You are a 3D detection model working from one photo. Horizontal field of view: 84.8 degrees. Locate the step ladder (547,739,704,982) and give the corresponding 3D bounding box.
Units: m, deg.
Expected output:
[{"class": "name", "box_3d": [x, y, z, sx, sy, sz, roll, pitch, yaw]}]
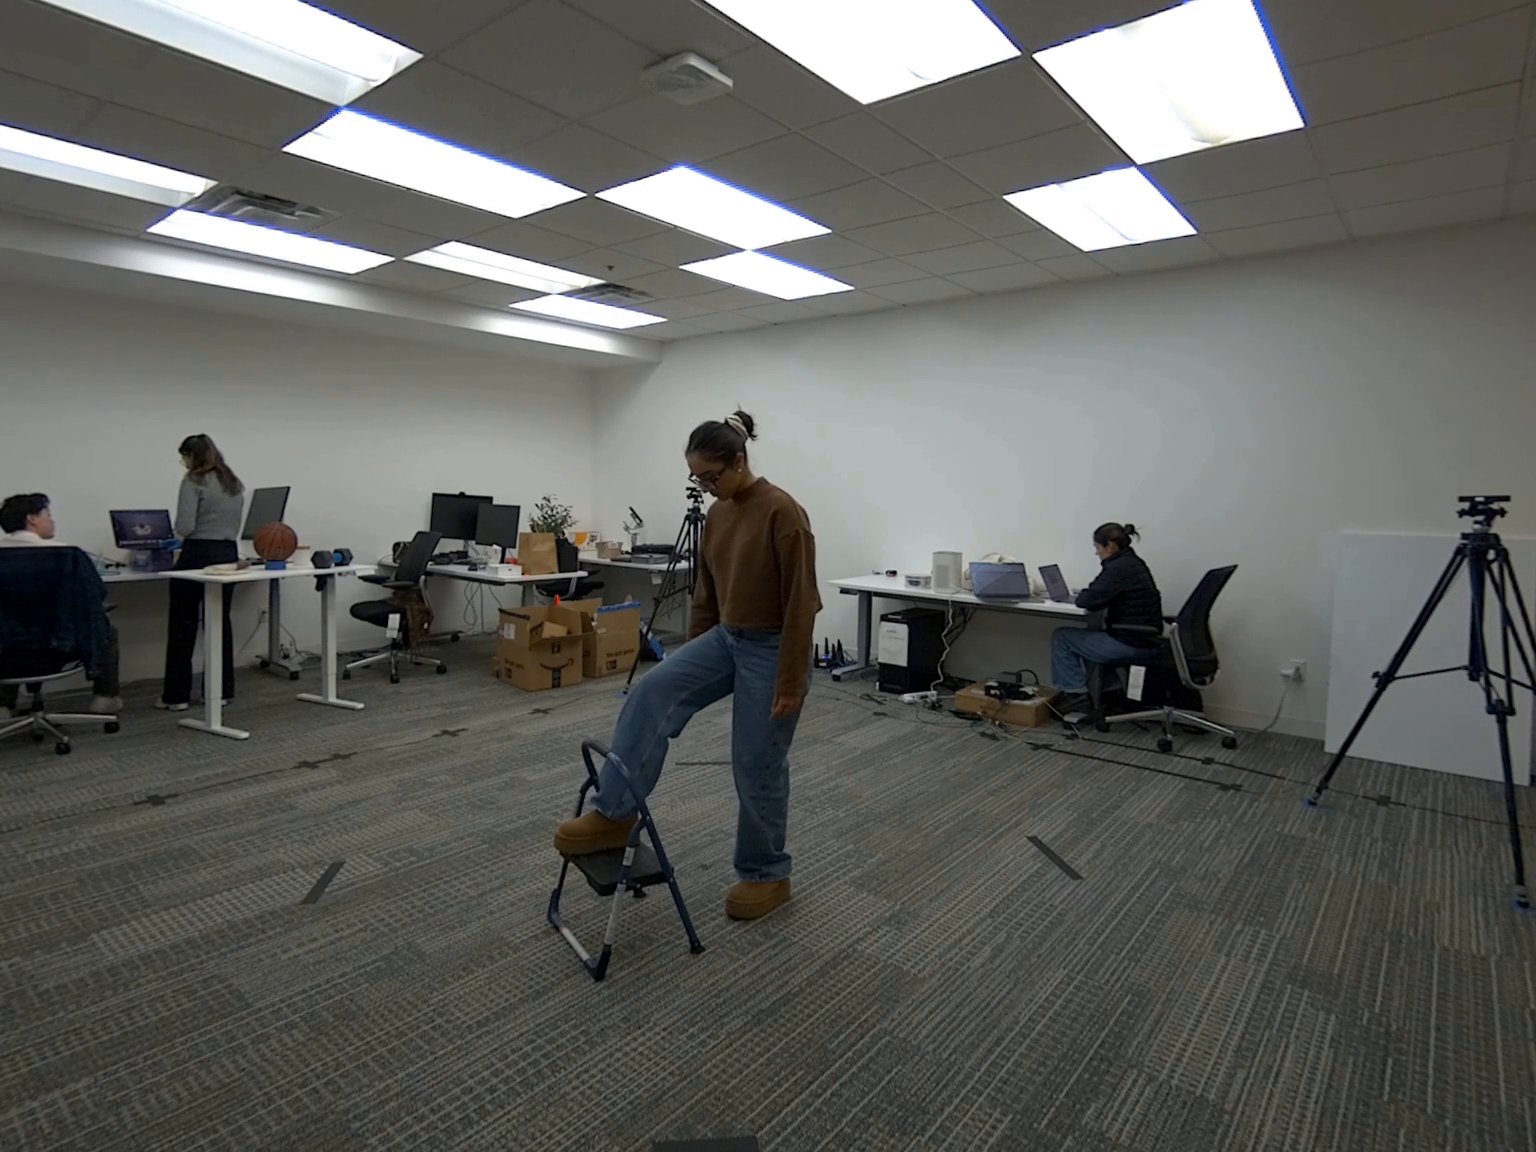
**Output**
[{"class": "step ladder", "box_3d": [-0.452, 0.808, 2.626, 0.339, 0.604, 0.444, -1, 4, -34]}]
